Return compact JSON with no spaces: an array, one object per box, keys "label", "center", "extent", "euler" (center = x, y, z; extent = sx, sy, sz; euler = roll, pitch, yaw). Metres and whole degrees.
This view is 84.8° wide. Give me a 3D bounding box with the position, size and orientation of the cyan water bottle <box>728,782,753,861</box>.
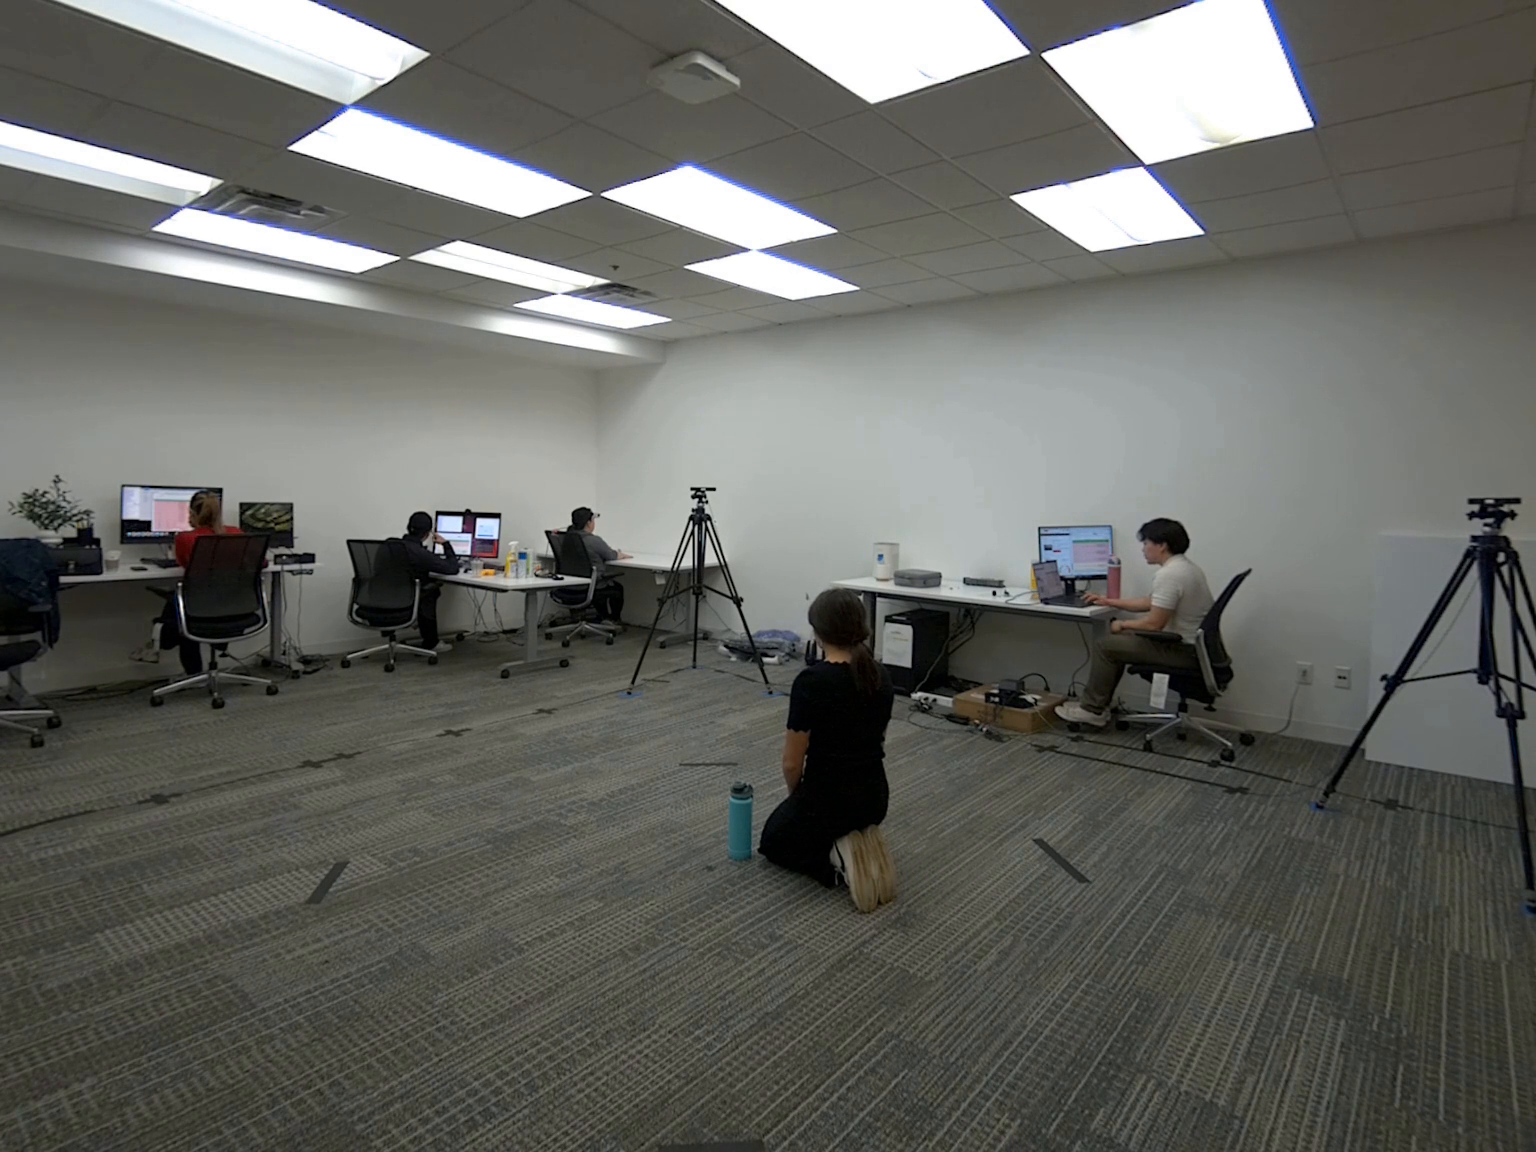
[{"label":"cyan water bottle","center":[-0.109,0.919,3.222],"extent":[0.092,0.283,0.093],"euler":[2,3,-2]}]
